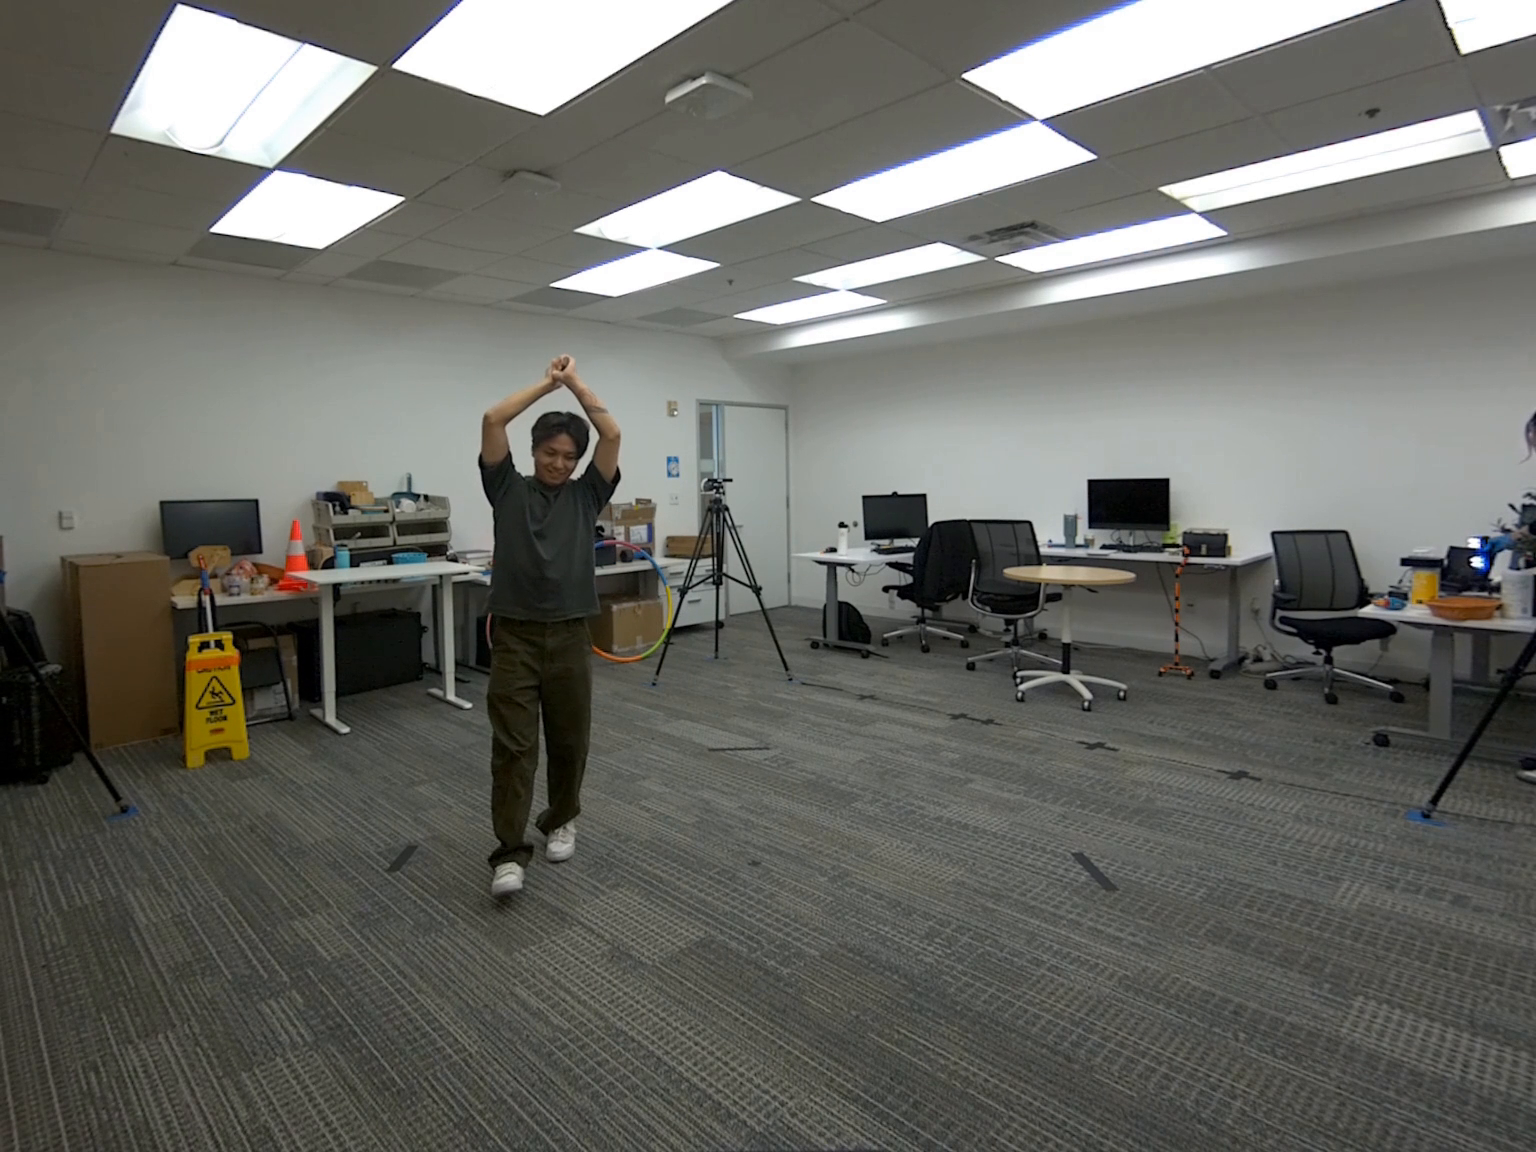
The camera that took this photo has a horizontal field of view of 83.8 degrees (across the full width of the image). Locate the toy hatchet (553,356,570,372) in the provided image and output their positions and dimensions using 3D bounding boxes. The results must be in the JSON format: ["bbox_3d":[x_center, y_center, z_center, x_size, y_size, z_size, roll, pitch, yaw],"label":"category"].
[{"bbox_3d":[-0.775,-0.772,3.111,0.029,0.132,0.270,12,-14,-10],"label":"toy hatchet"}]
